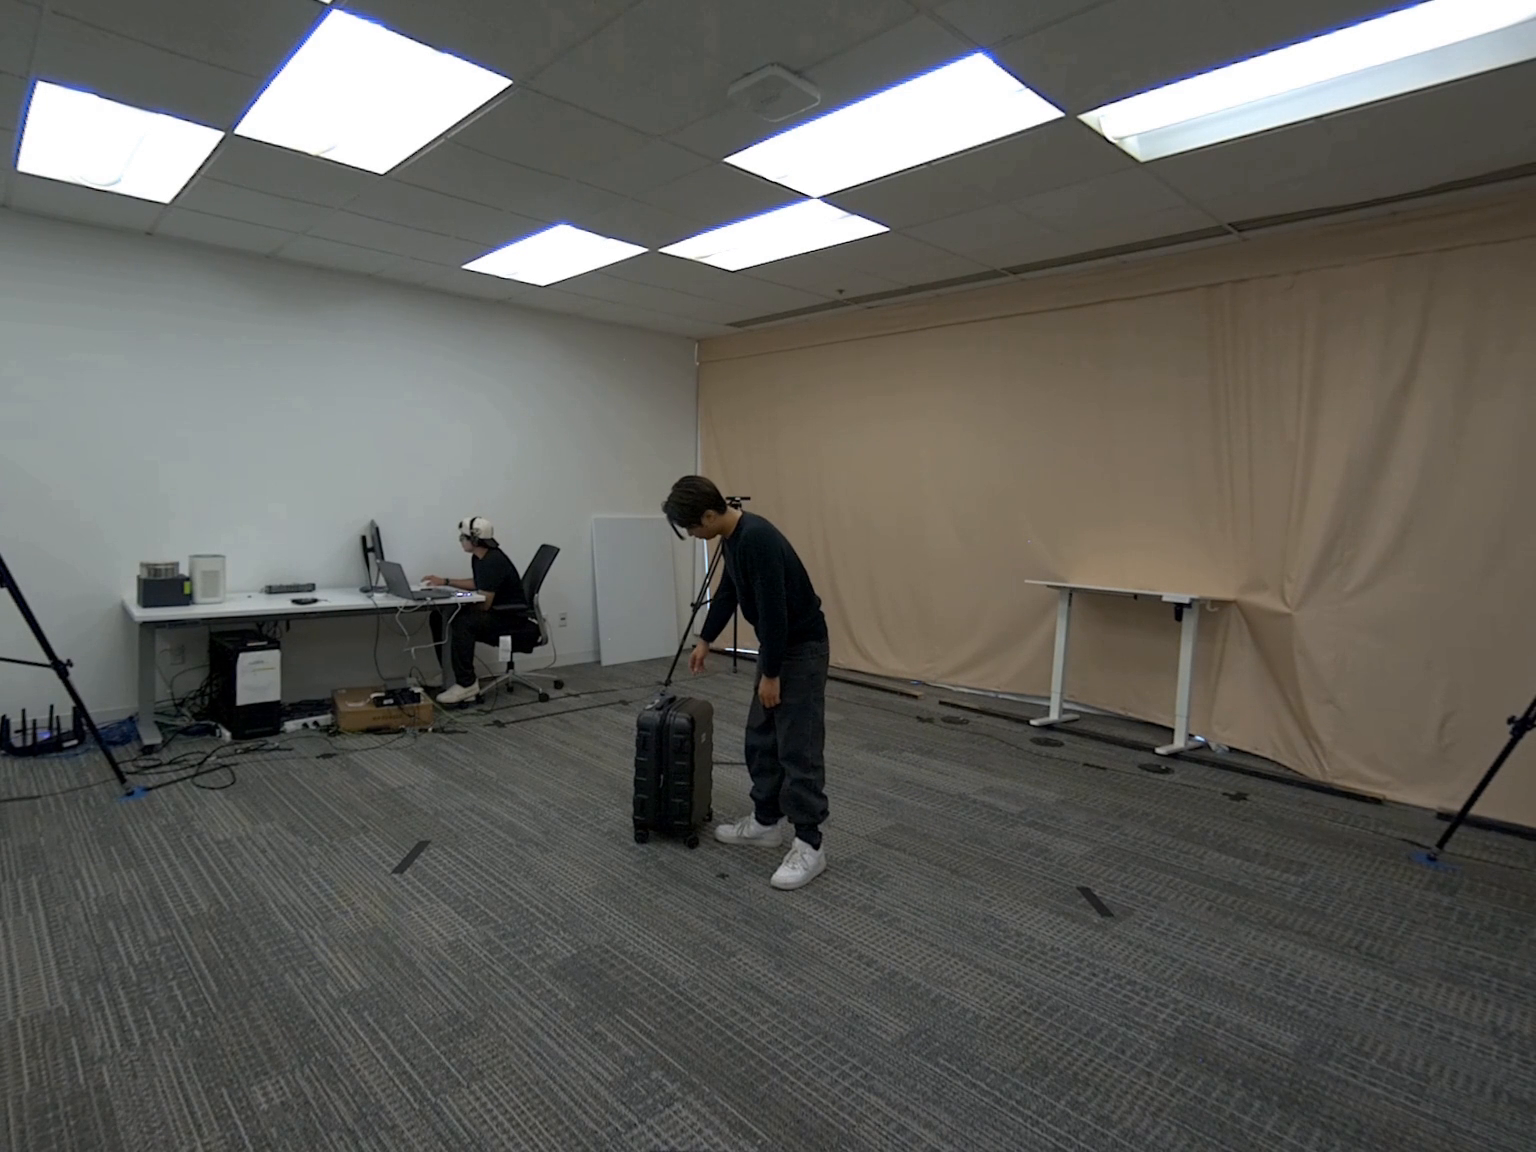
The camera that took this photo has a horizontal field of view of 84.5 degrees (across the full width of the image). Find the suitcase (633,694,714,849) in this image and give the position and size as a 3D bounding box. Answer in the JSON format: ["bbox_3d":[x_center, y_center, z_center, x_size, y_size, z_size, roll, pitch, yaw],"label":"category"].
[{"bbox_3d":[-0.389,0.784,3.501,0.251,0.548,0.371,2,2,13],"label":"suitcase"}]
